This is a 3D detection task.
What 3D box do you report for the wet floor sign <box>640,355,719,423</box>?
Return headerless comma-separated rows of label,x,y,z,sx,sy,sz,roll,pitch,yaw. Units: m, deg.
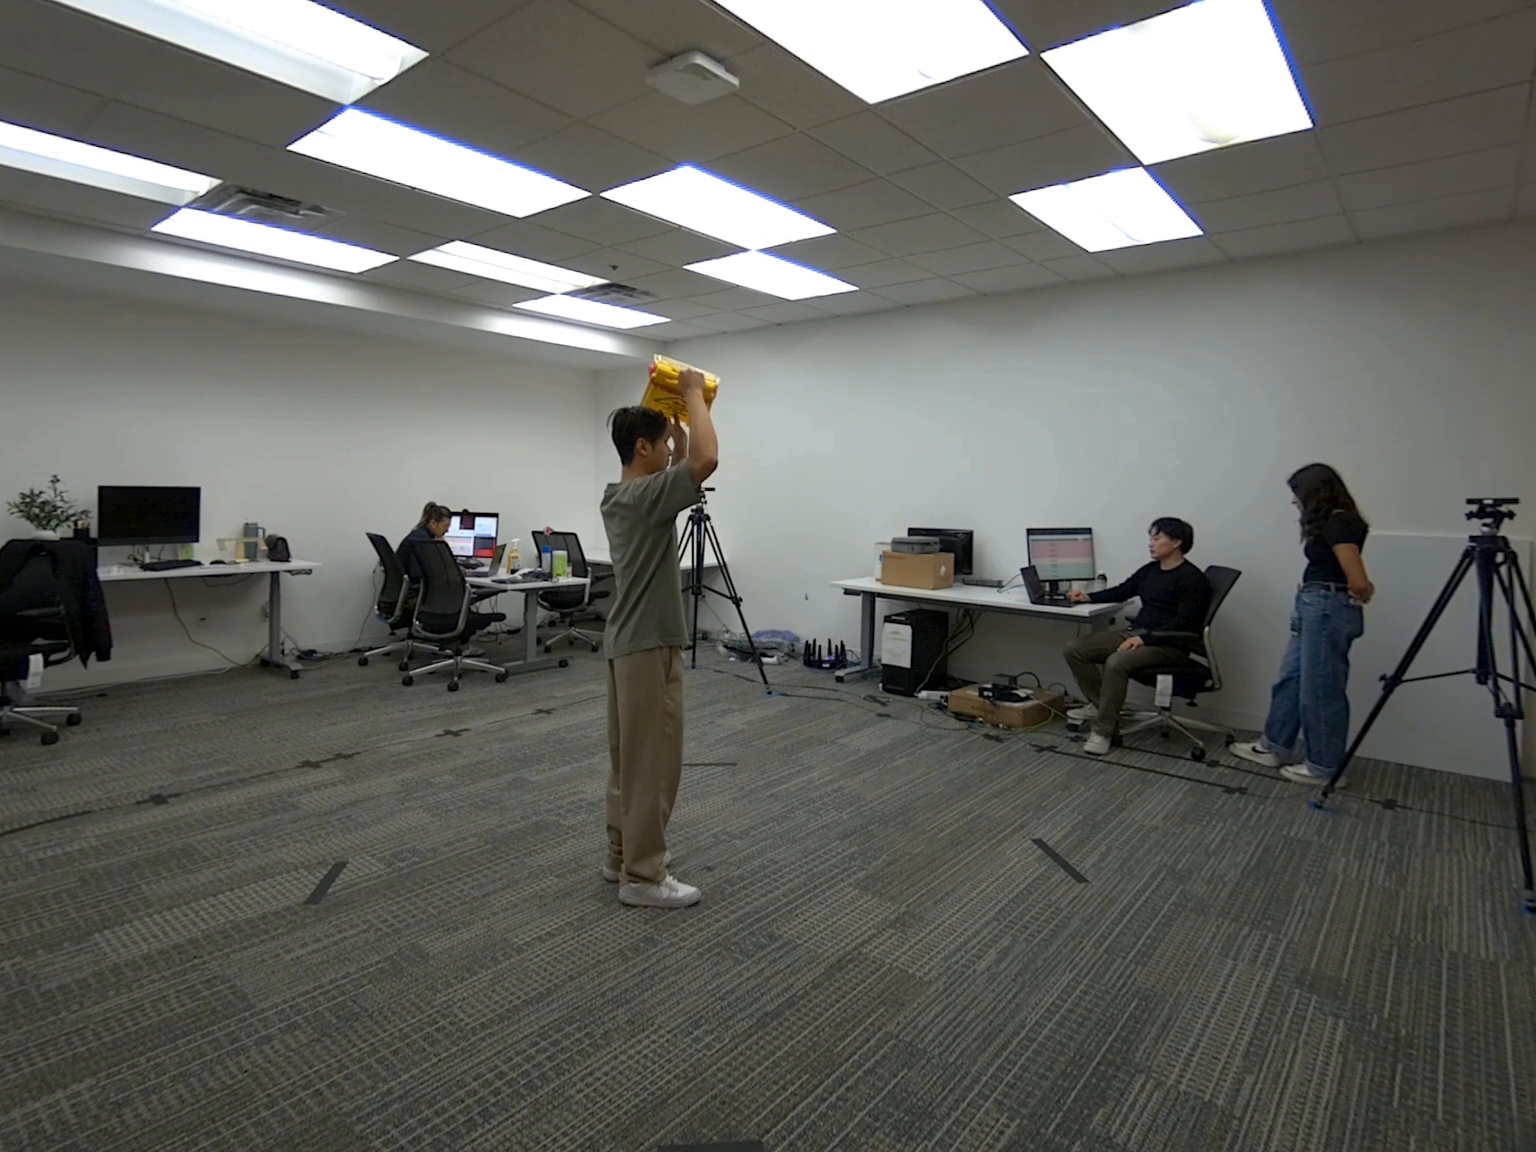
wet floor sign,-0.319,-0.680,3.075,0.279,0.289,0.654,20,2,-10
